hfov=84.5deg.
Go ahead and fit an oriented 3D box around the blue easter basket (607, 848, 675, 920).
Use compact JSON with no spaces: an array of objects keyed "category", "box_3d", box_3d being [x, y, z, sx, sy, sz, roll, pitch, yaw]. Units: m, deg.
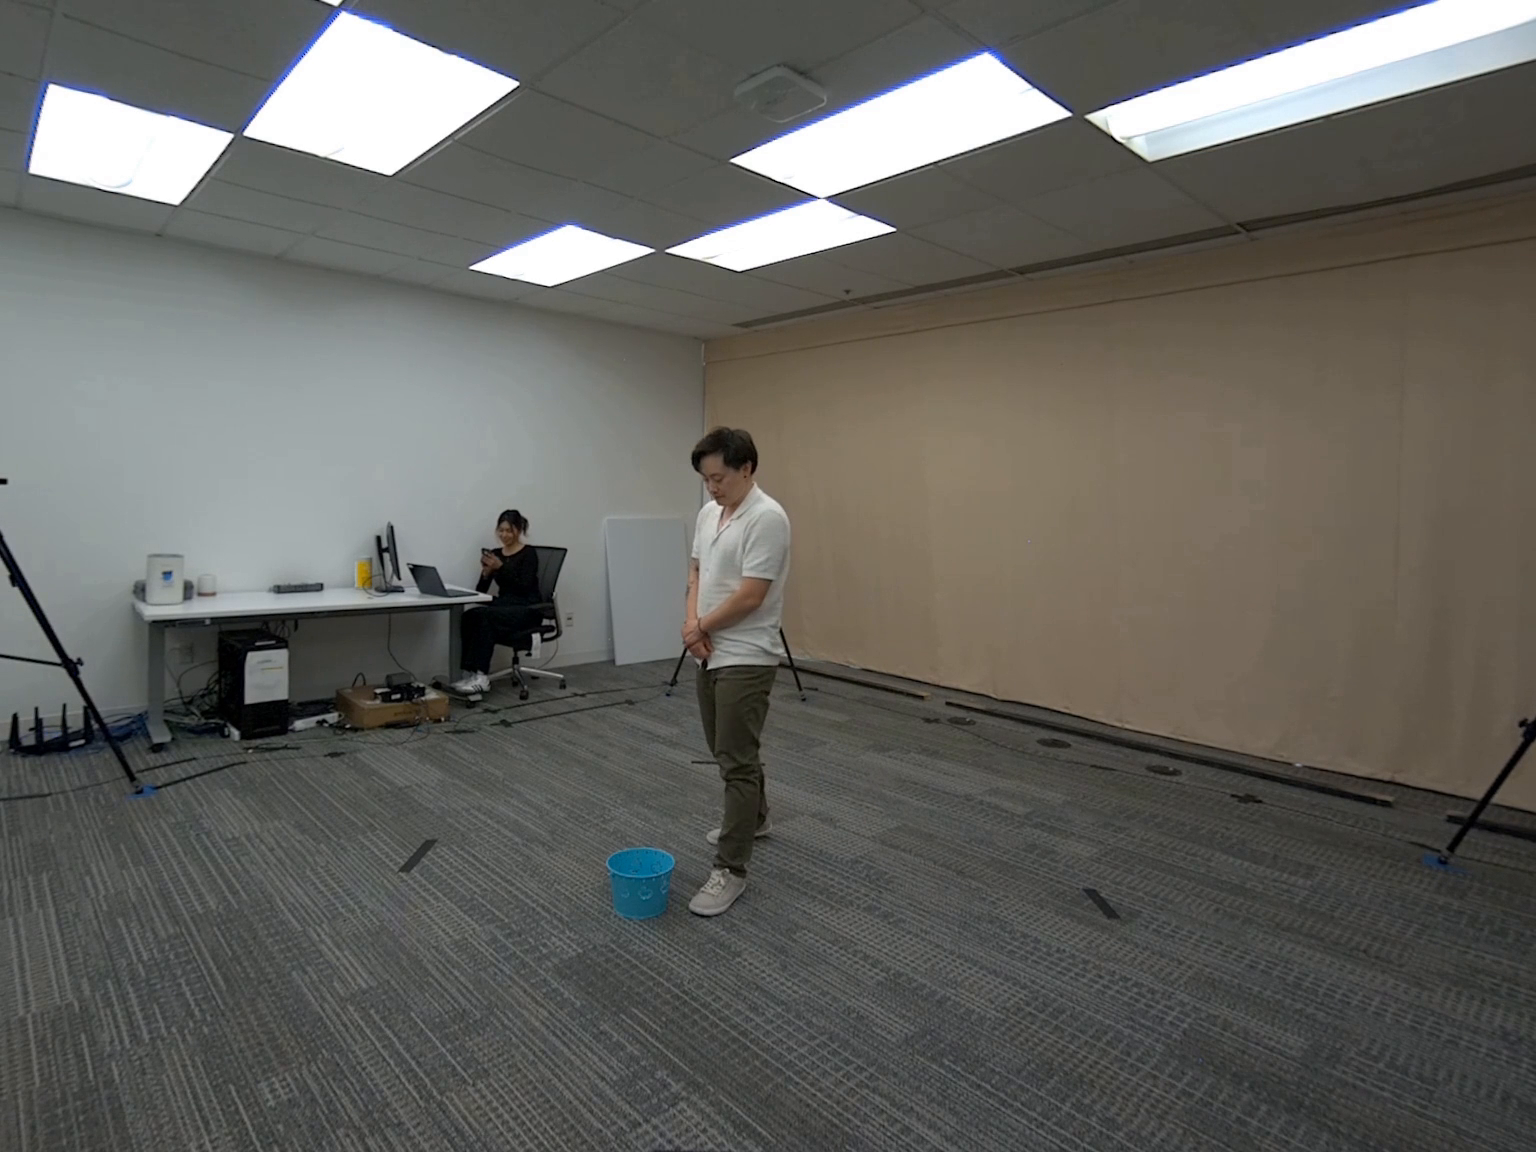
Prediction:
[{"category":"blue easter basket","box_3d":[-0.436,1.041,2.866,0.243,0.155,0.244,1,5,-1]}]
